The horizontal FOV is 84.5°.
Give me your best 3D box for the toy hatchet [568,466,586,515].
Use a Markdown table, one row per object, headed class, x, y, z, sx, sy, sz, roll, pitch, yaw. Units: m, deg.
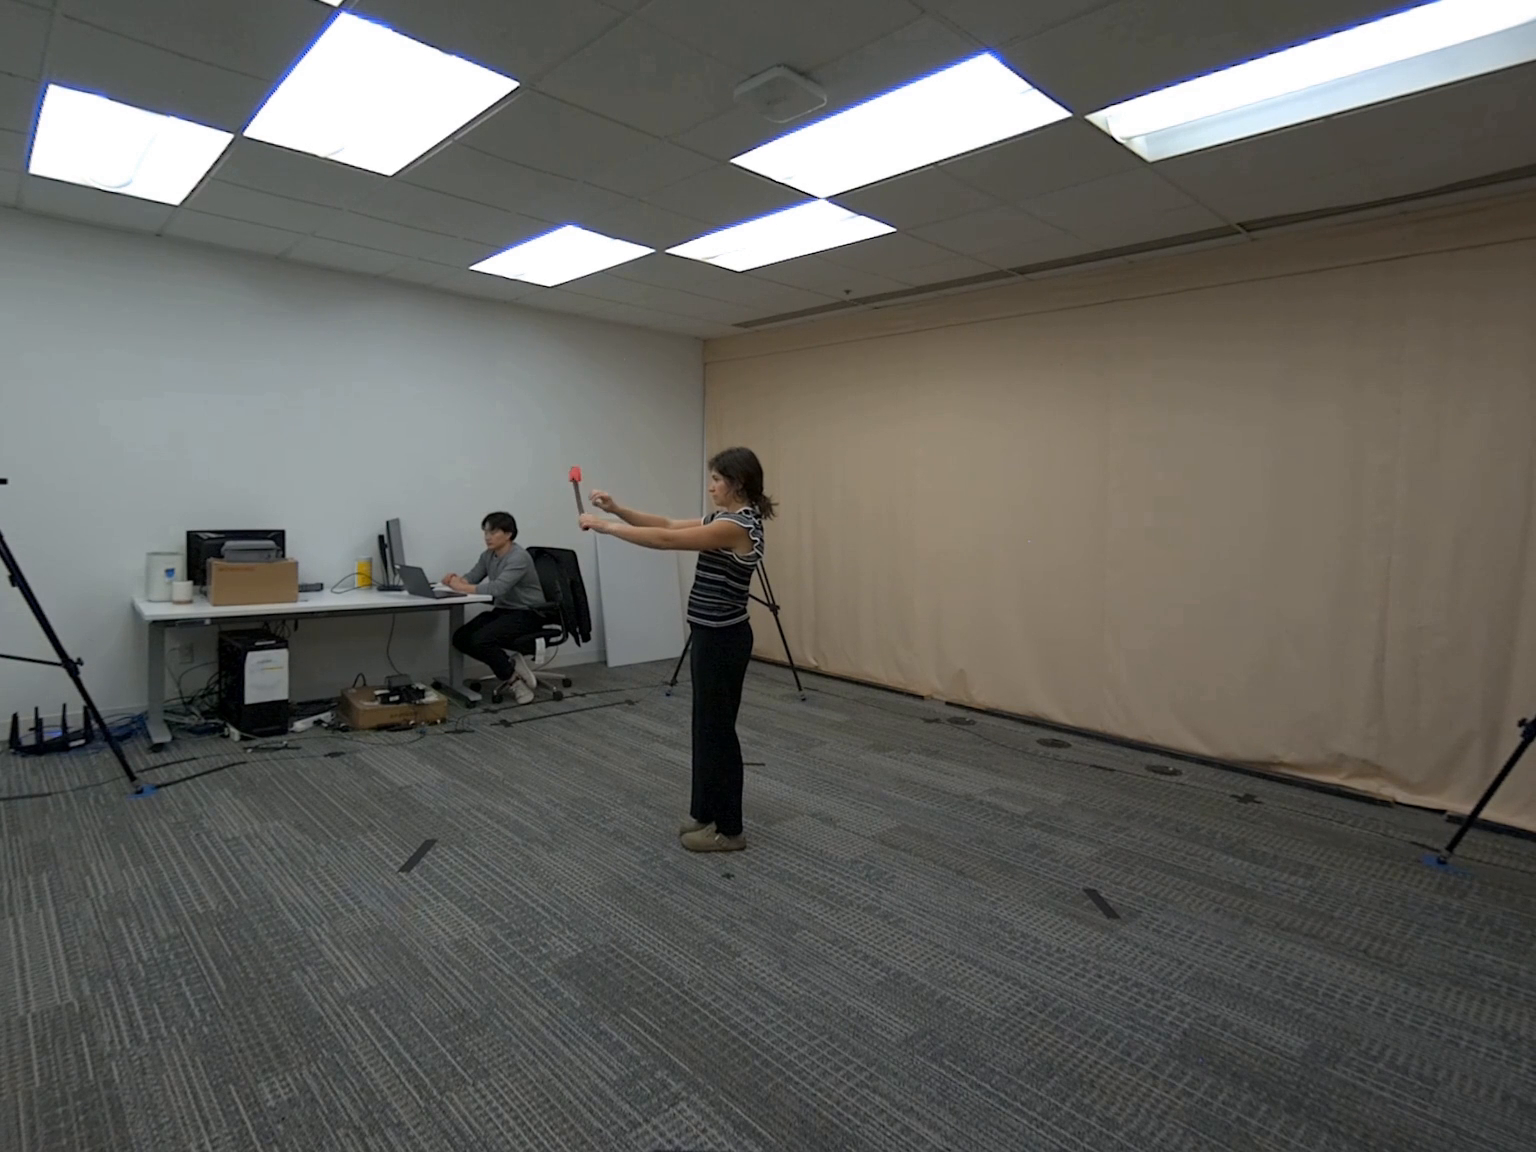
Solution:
| class | x | y | z | sx | sy | sz | roll | pitch | yaw |
| --- | --- | --- | --- | --- | --- | --- | --- | --- | --- |
| toy hatchet | -0.735 | -0.309 | 3.269 | 0.029 | 0.277 | 0.130 | -3 | -36 | -30 |
